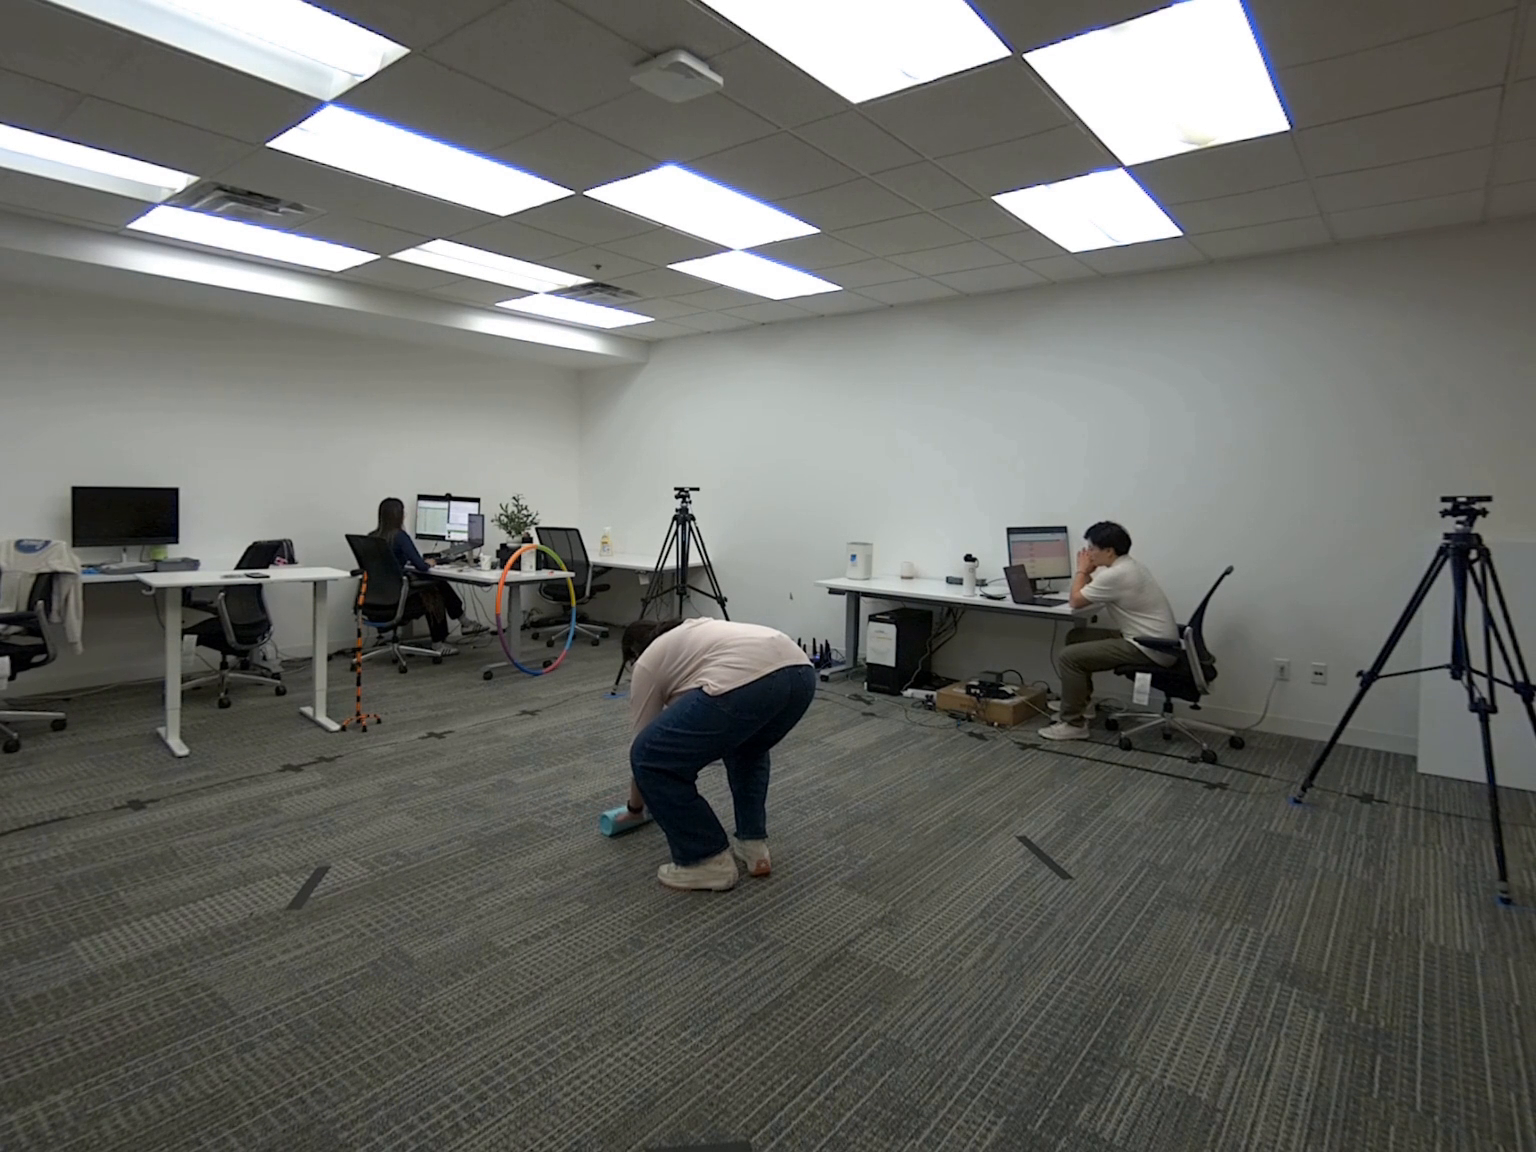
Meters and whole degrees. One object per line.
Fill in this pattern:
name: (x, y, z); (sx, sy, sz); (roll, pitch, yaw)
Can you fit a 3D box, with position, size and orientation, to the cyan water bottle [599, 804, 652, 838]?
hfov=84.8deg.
cyan water bottle: (-0.564, 0.975, 3.478); (0.095, 0.092, 0.275); (5, 5, 44)
